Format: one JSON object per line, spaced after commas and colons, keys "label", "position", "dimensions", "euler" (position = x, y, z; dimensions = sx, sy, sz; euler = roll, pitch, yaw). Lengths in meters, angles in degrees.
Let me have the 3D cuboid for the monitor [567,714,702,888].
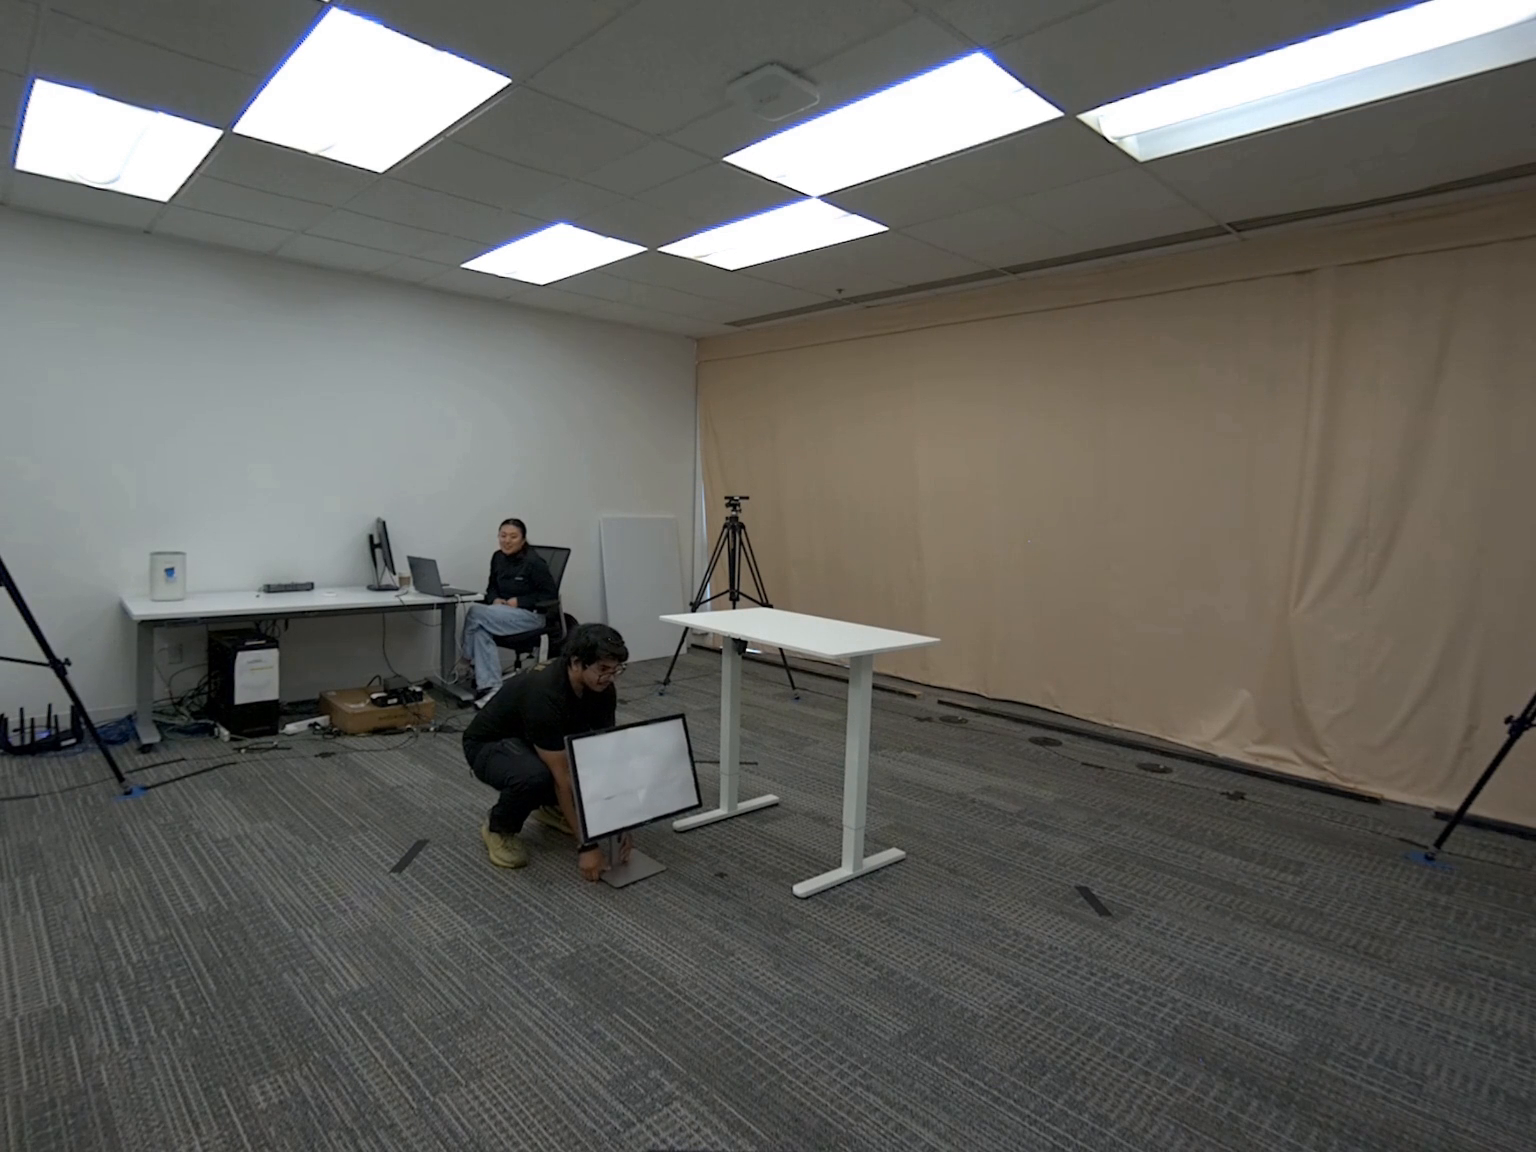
{"label": "monitor", "position": [-0.539, 0.820, 3.118], "dimensions": [0.214, 0.555, 0.552], "euler": [-7, -3, 41]}
